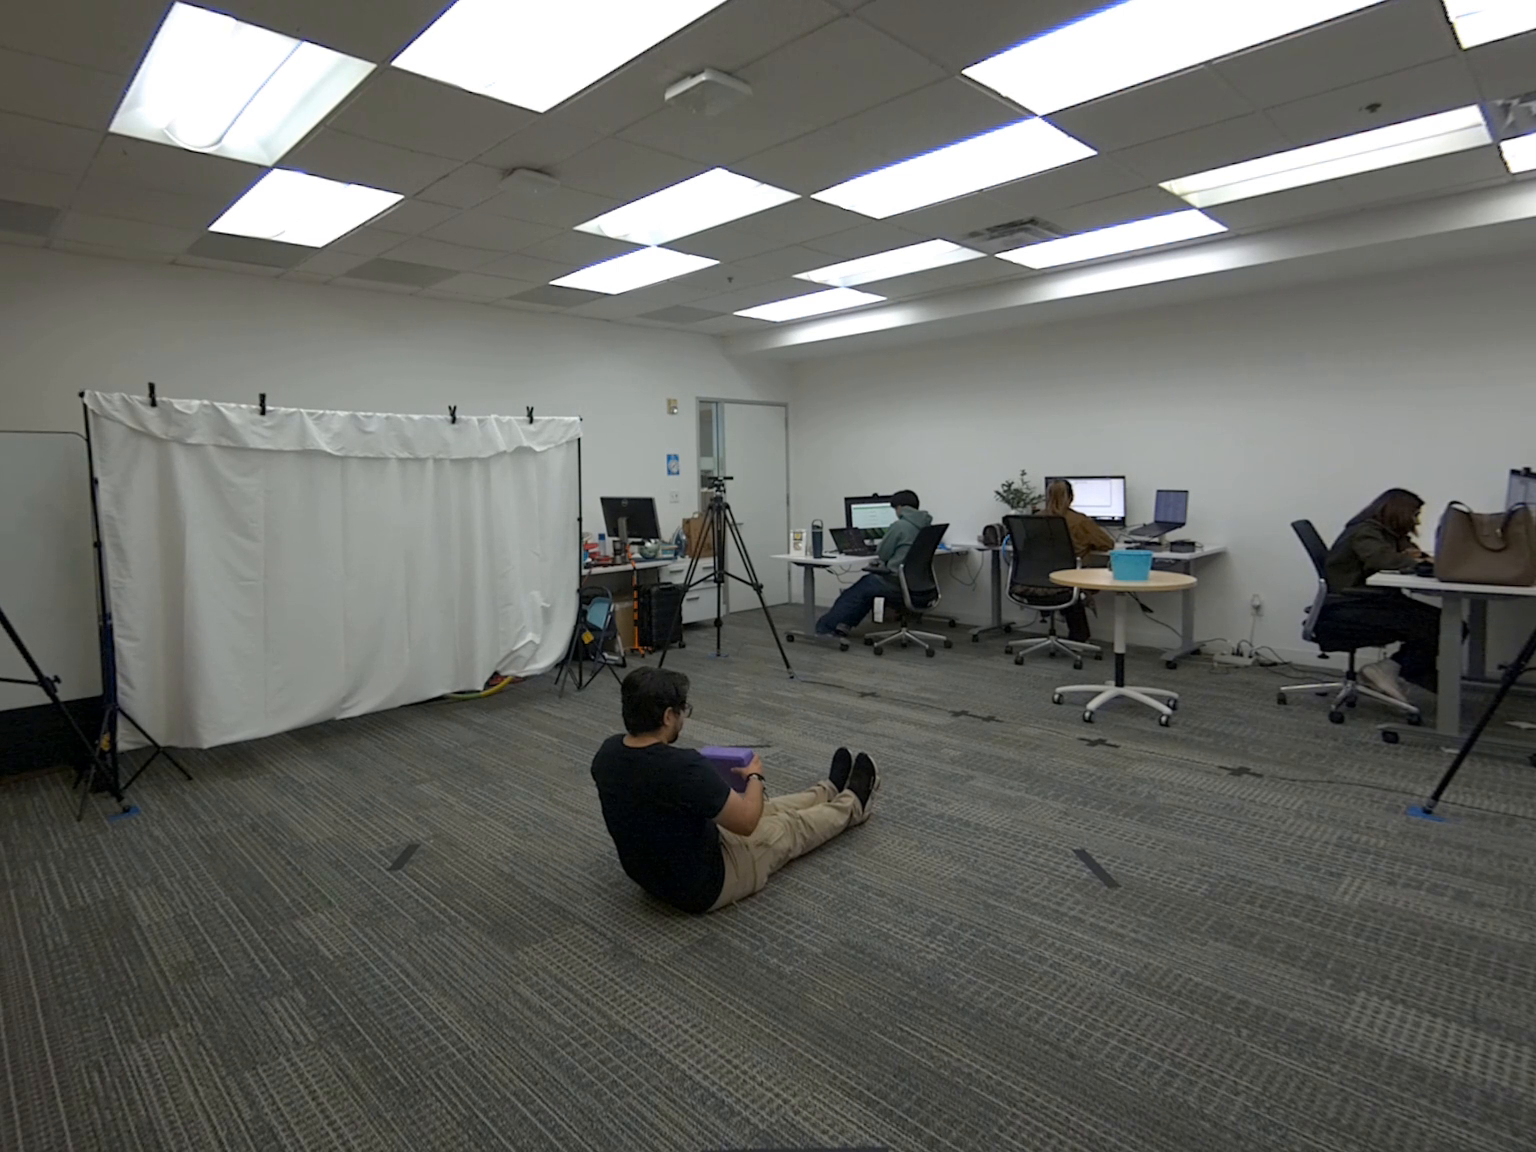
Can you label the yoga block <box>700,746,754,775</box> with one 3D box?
[{"bbox_3d":[-0.148,0.708,3.112,0.235,0.148,0.075,-6,11,40],"label":"yoga block"}]
